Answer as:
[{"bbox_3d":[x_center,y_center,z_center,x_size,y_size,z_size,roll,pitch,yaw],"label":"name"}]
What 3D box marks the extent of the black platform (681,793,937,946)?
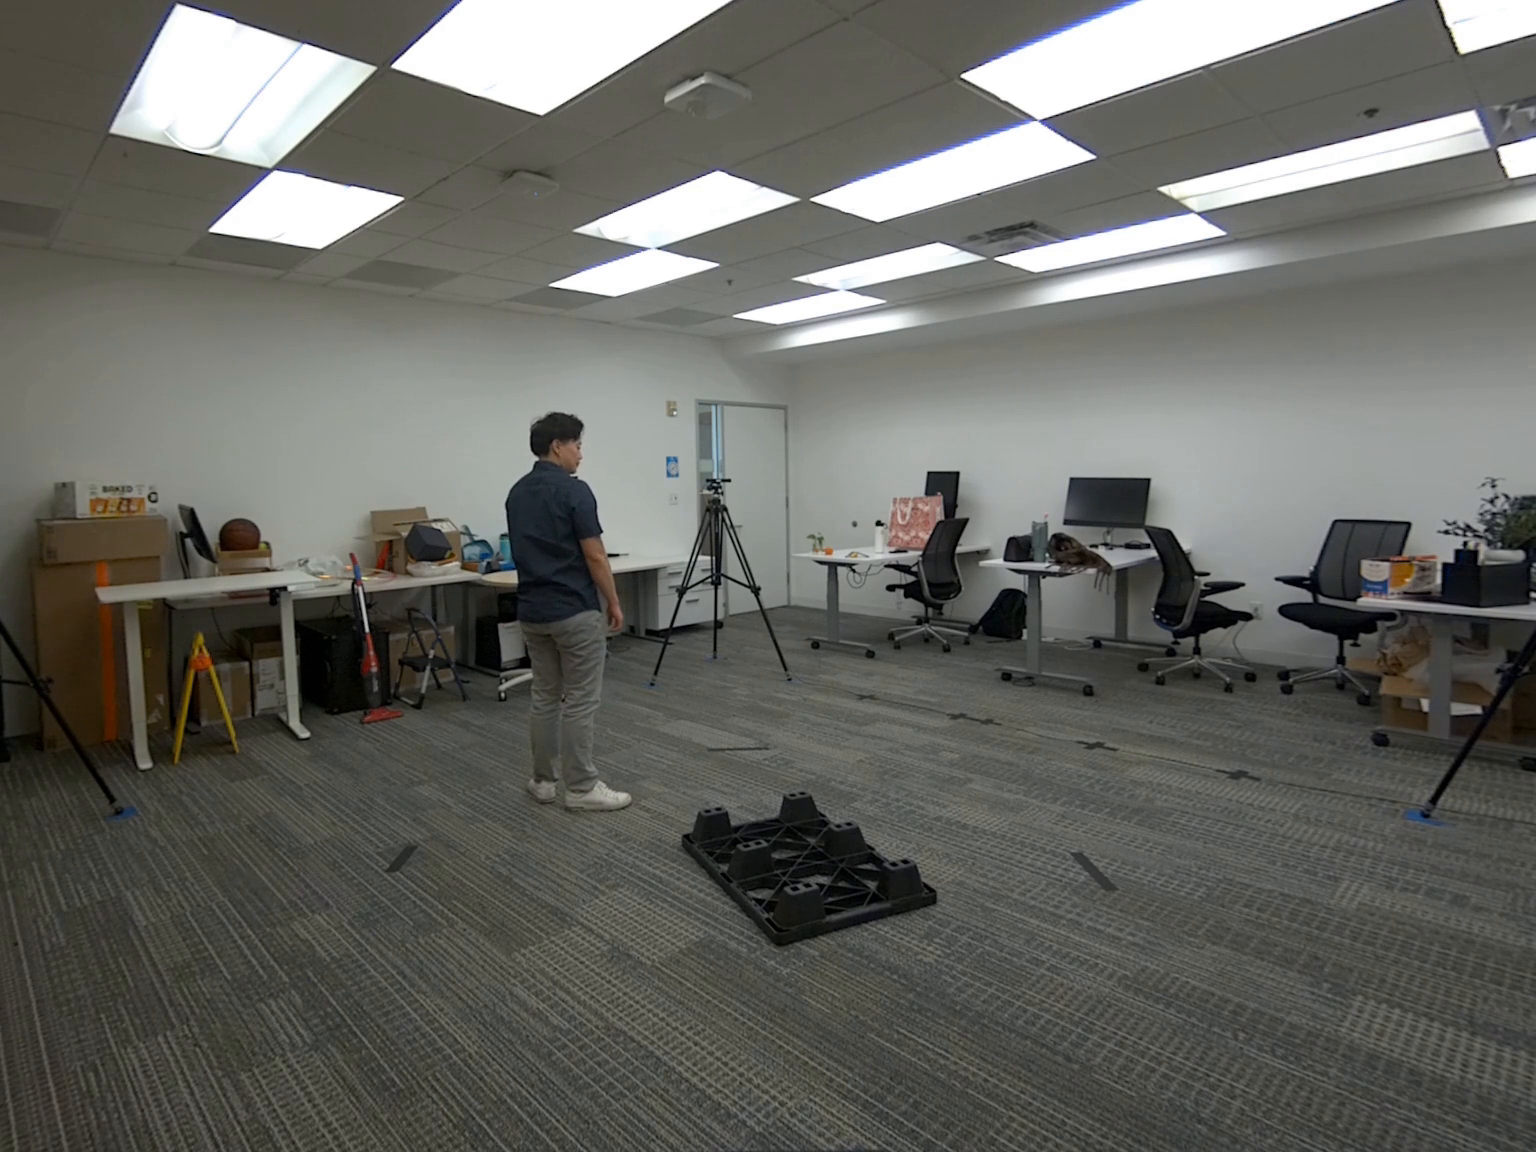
[{"bbox_3d":[0.107,0.982,3.029,0.592,0.143,0.826,-4,7,-26],"label":"black platform"}]
